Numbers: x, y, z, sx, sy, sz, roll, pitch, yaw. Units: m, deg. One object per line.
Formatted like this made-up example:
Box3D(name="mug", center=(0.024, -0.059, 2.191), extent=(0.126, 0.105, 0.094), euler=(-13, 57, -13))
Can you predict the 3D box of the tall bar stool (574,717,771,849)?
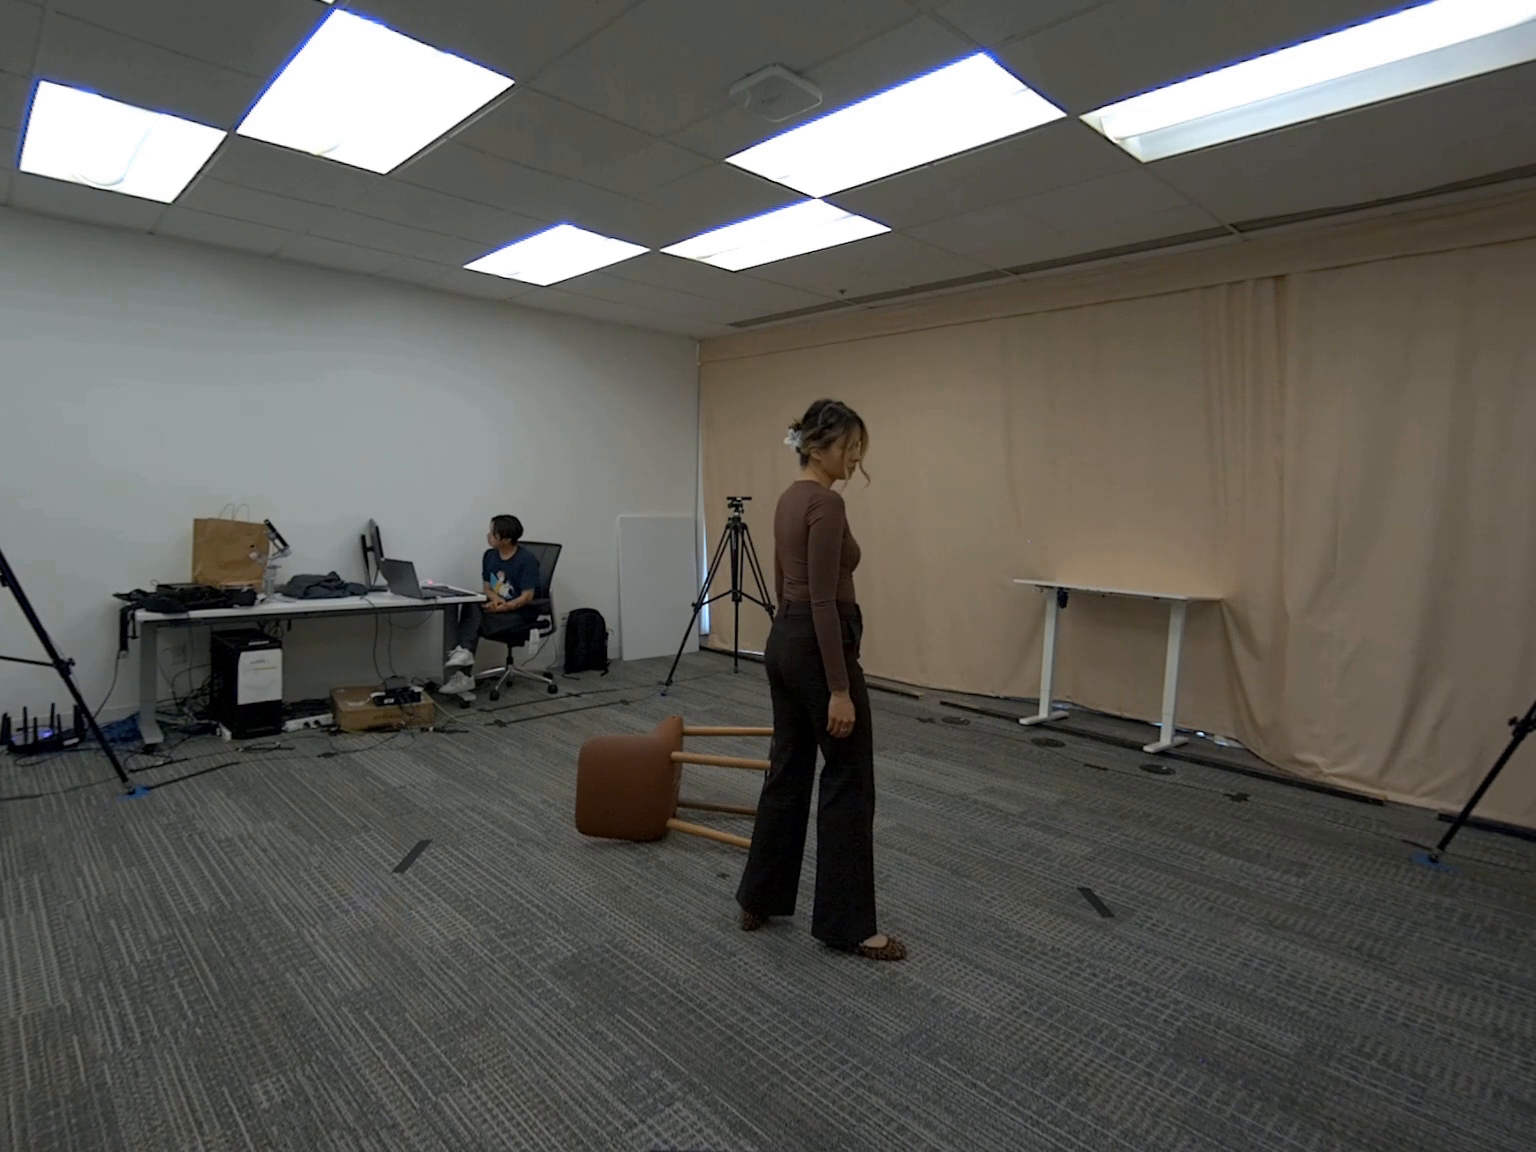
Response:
Box3D(name="tall bar stool", center=(-0.308, 0.854, 3.491), extent=(0.893, 0.455, 0.467), euler=(4, 6, 4))
